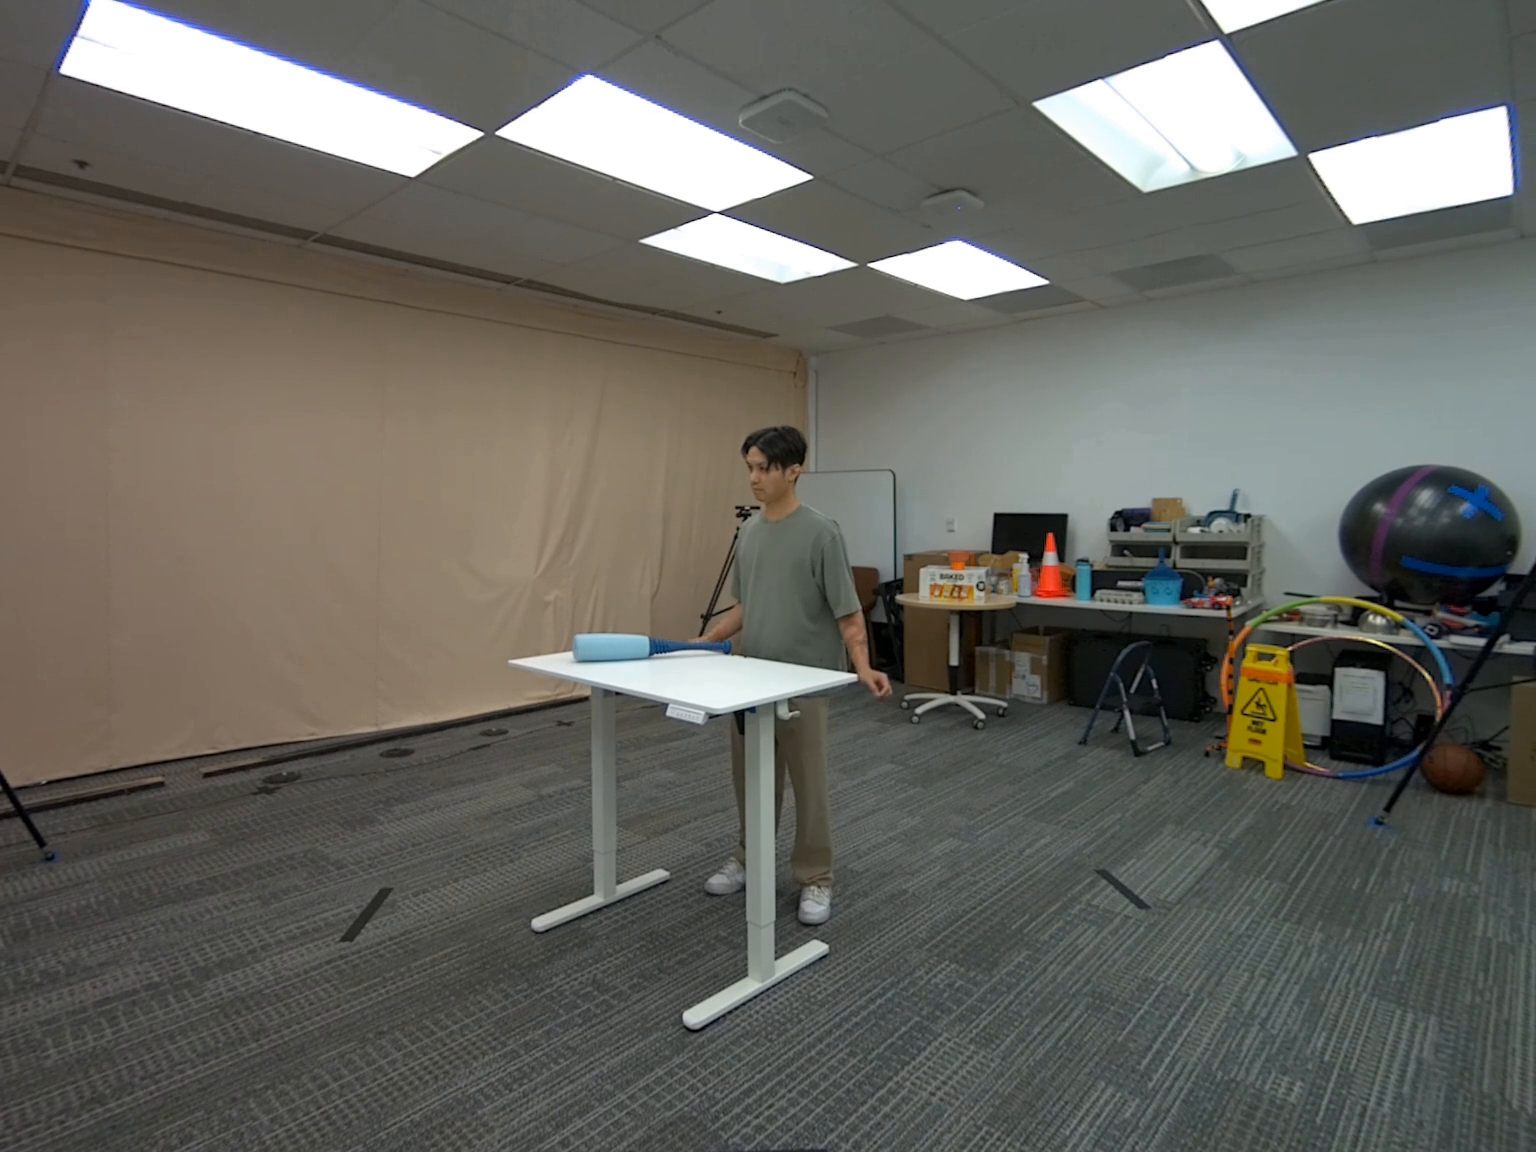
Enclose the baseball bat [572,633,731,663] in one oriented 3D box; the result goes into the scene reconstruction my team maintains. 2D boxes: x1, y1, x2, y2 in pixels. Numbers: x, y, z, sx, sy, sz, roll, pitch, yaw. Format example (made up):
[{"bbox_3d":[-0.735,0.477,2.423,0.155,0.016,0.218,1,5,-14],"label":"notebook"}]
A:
[{"bbox_3d":[-0.383,0.243,2.852,0.533,0.089,0.091,1,3,-18],"label":"baseball bat"}]
